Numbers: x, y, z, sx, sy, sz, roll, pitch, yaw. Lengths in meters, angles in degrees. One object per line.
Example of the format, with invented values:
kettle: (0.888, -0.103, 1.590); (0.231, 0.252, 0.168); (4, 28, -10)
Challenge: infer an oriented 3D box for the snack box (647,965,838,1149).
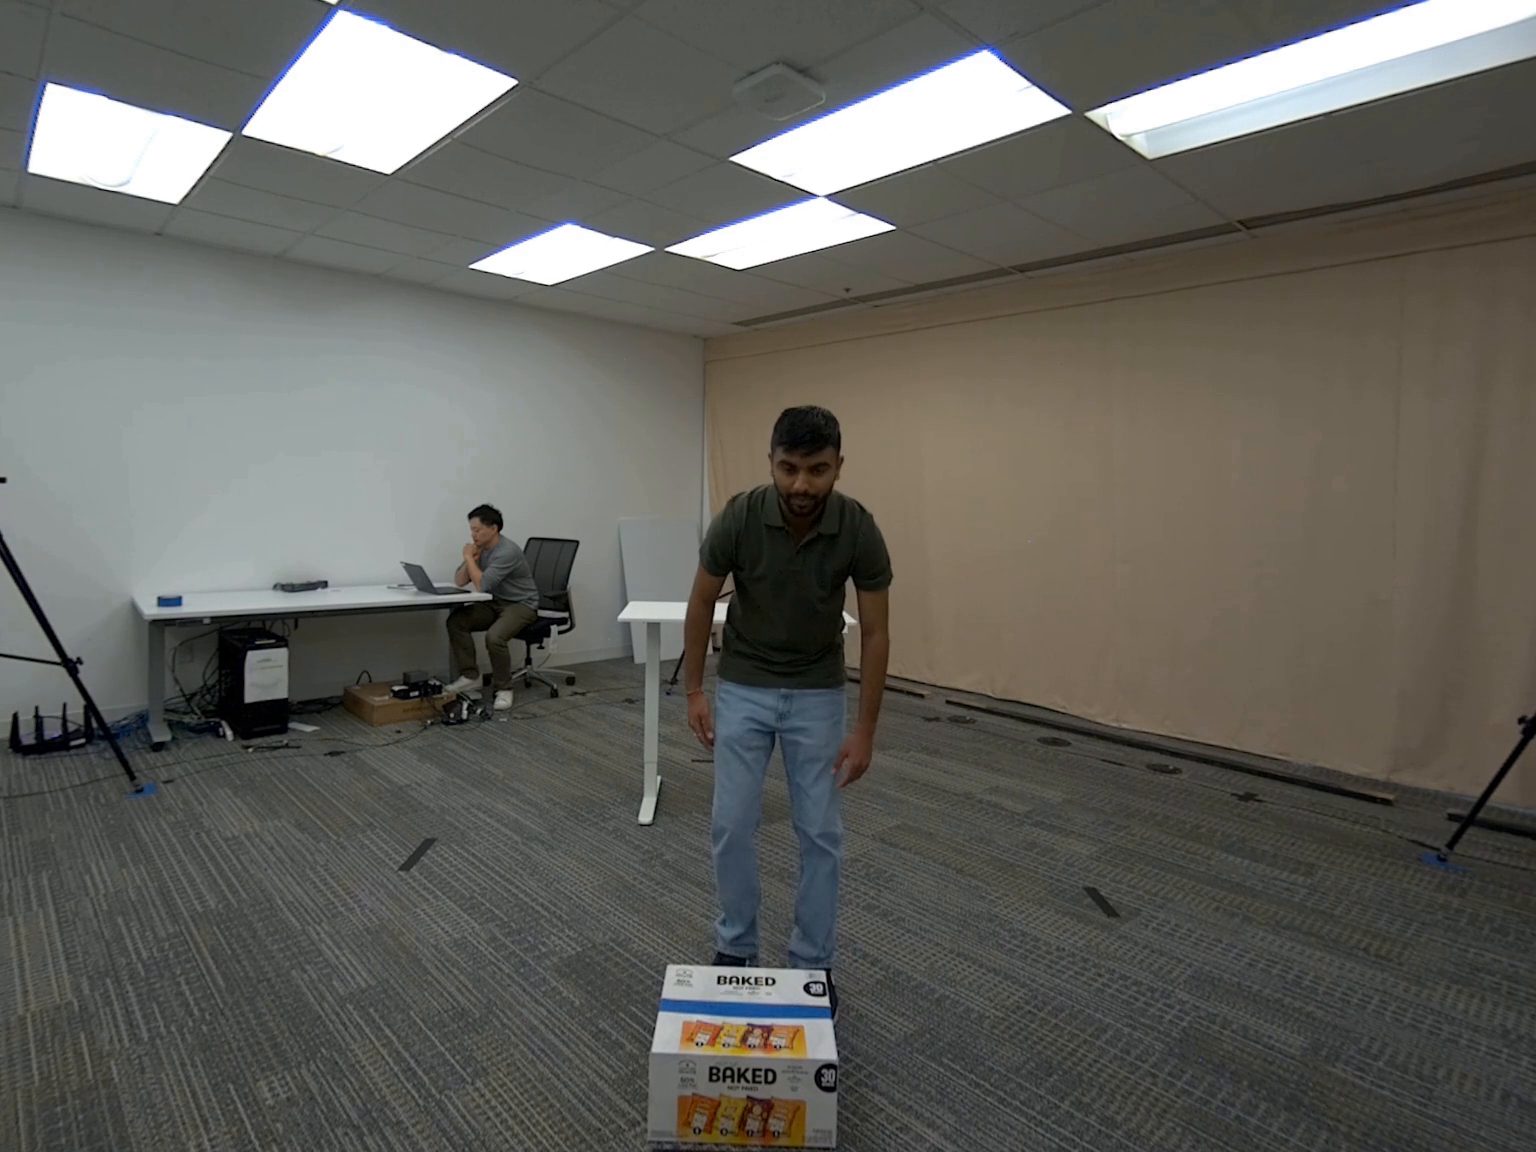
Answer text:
snack box: (-0.062, 1.114, 1.960); (0.405, 0.205, 0.341); (2, 5, 0)
